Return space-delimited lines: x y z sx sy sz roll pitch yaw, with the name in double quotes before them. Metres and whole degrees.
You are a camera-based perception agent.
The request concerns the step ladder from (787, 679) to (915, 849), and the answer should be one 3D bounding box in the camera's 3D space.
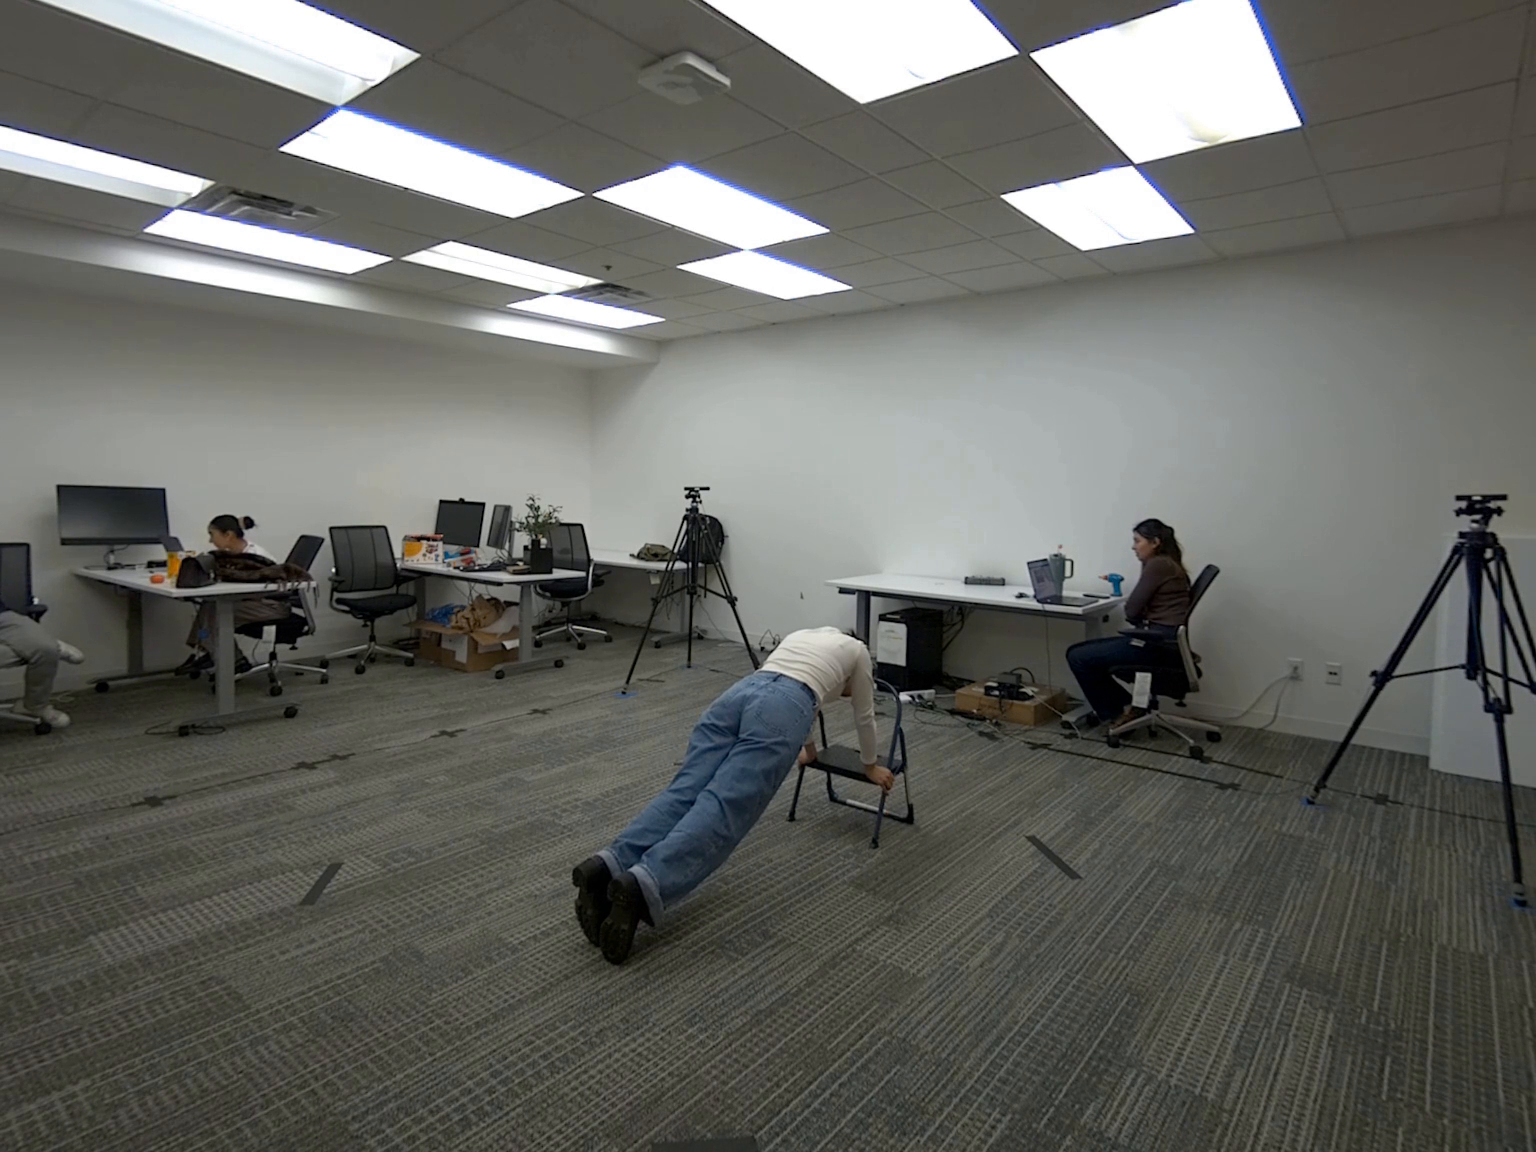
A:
"step ladder" 0.352 0.730 3.563 0.445 0.604 0.339 4 4 38
